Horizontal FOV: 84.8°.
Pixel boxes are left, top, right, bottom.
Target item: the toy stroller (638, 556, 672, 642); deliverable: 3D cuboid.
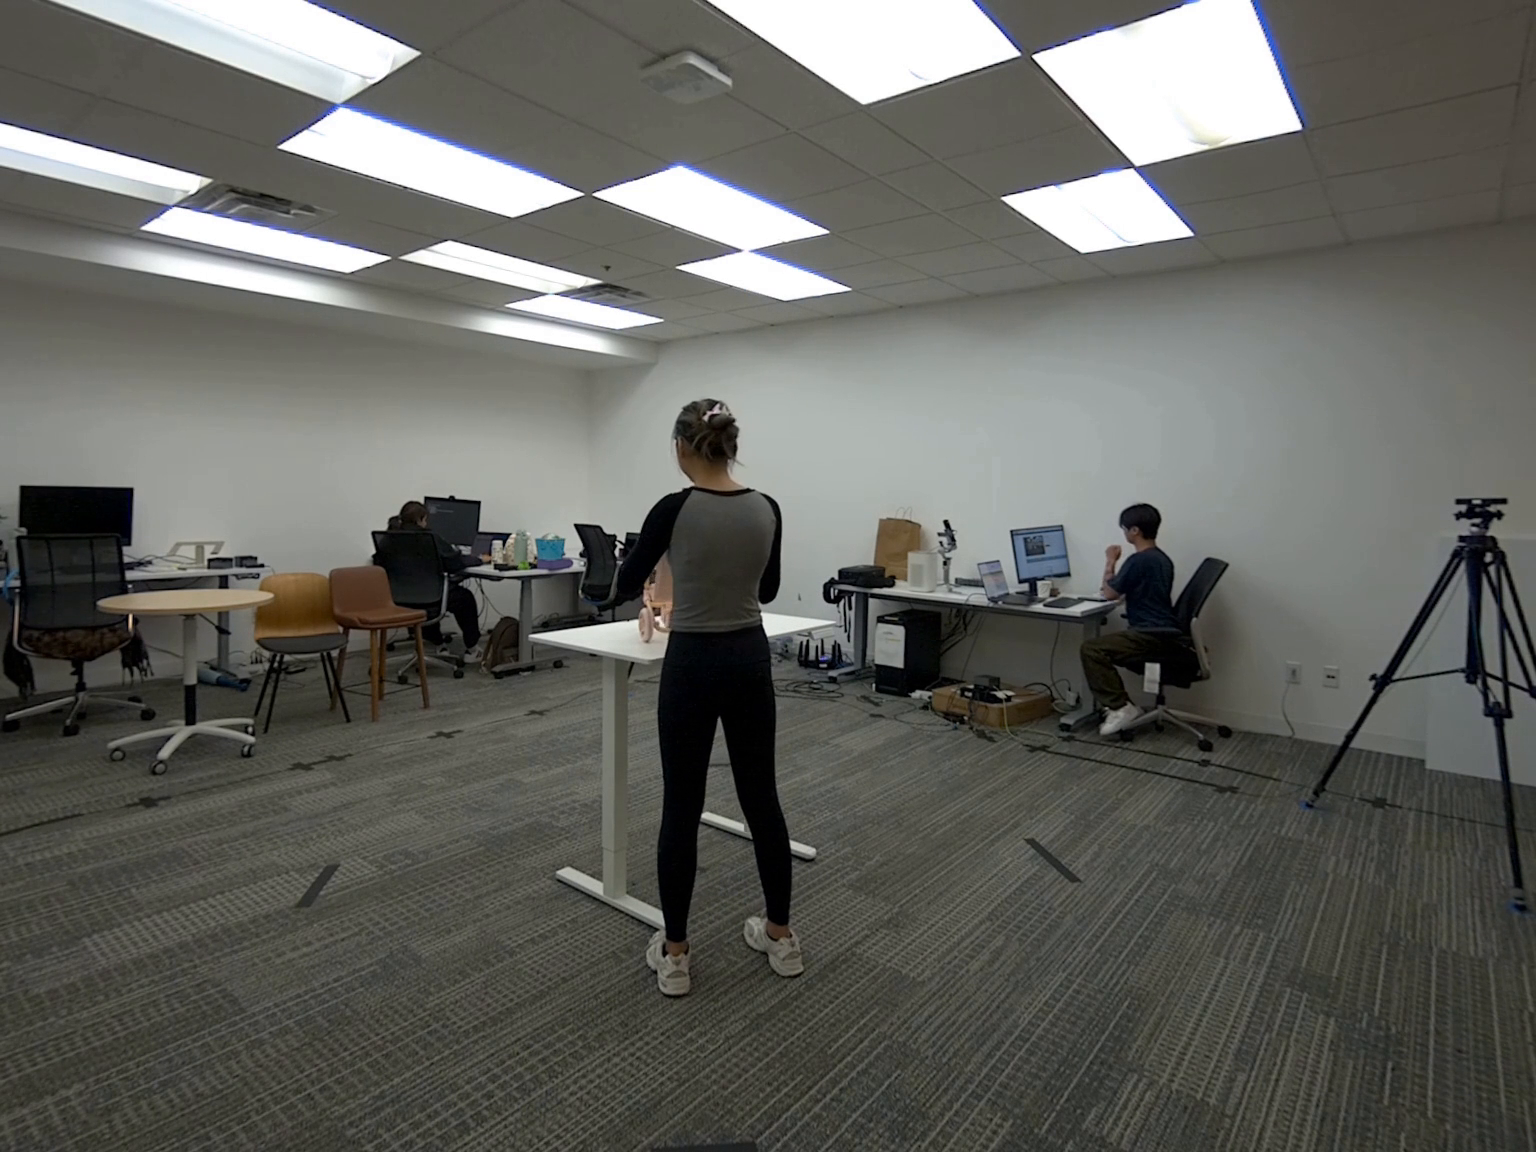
[{"bbox_3d":[-0.308,-0.014,2.885,0.278,0.526,0.351,-1,20,-13],"label":"toy stroller"}]
